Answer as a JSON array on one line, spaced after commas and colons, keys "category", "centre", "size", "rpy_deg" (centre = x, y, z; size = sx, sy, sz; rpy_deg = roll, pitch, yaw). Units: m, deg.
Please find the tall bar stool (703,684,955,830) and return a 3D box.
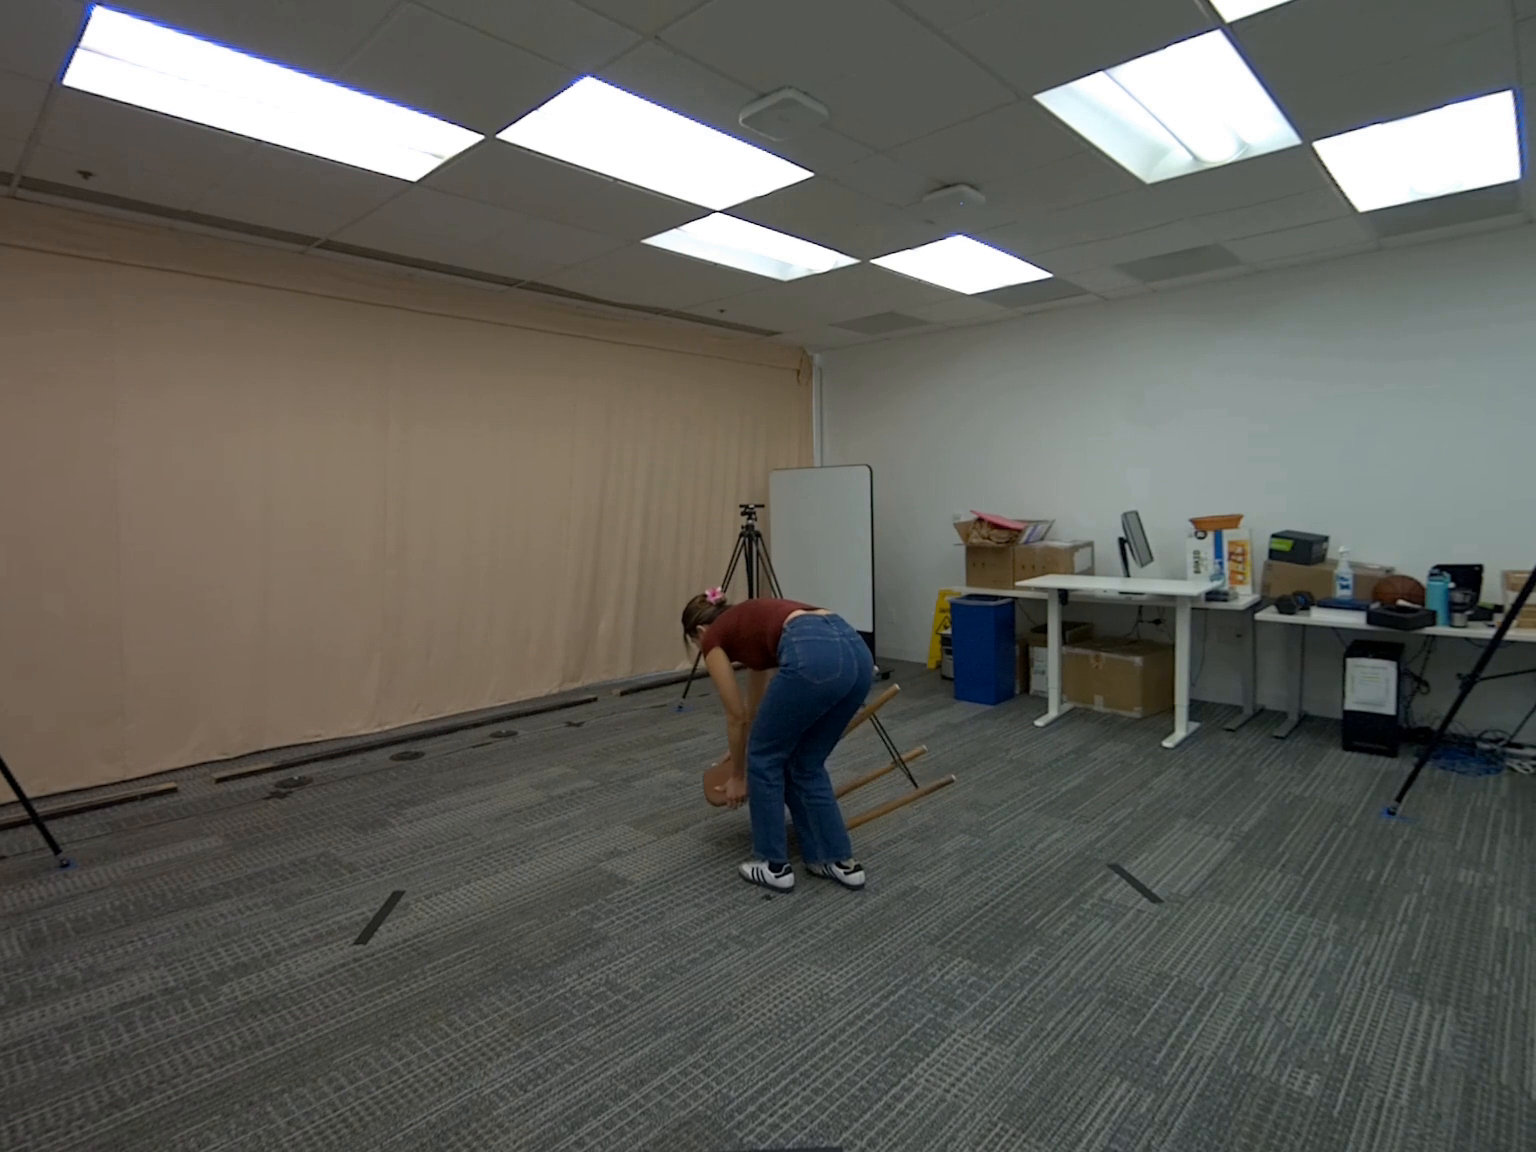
[{"category": "tall bar stool", "centre": [0.232, 0.816, 3.482], "size": [0.889, 0.465, 0.460], "rpy_deg": [-31, 6, -1]}]
